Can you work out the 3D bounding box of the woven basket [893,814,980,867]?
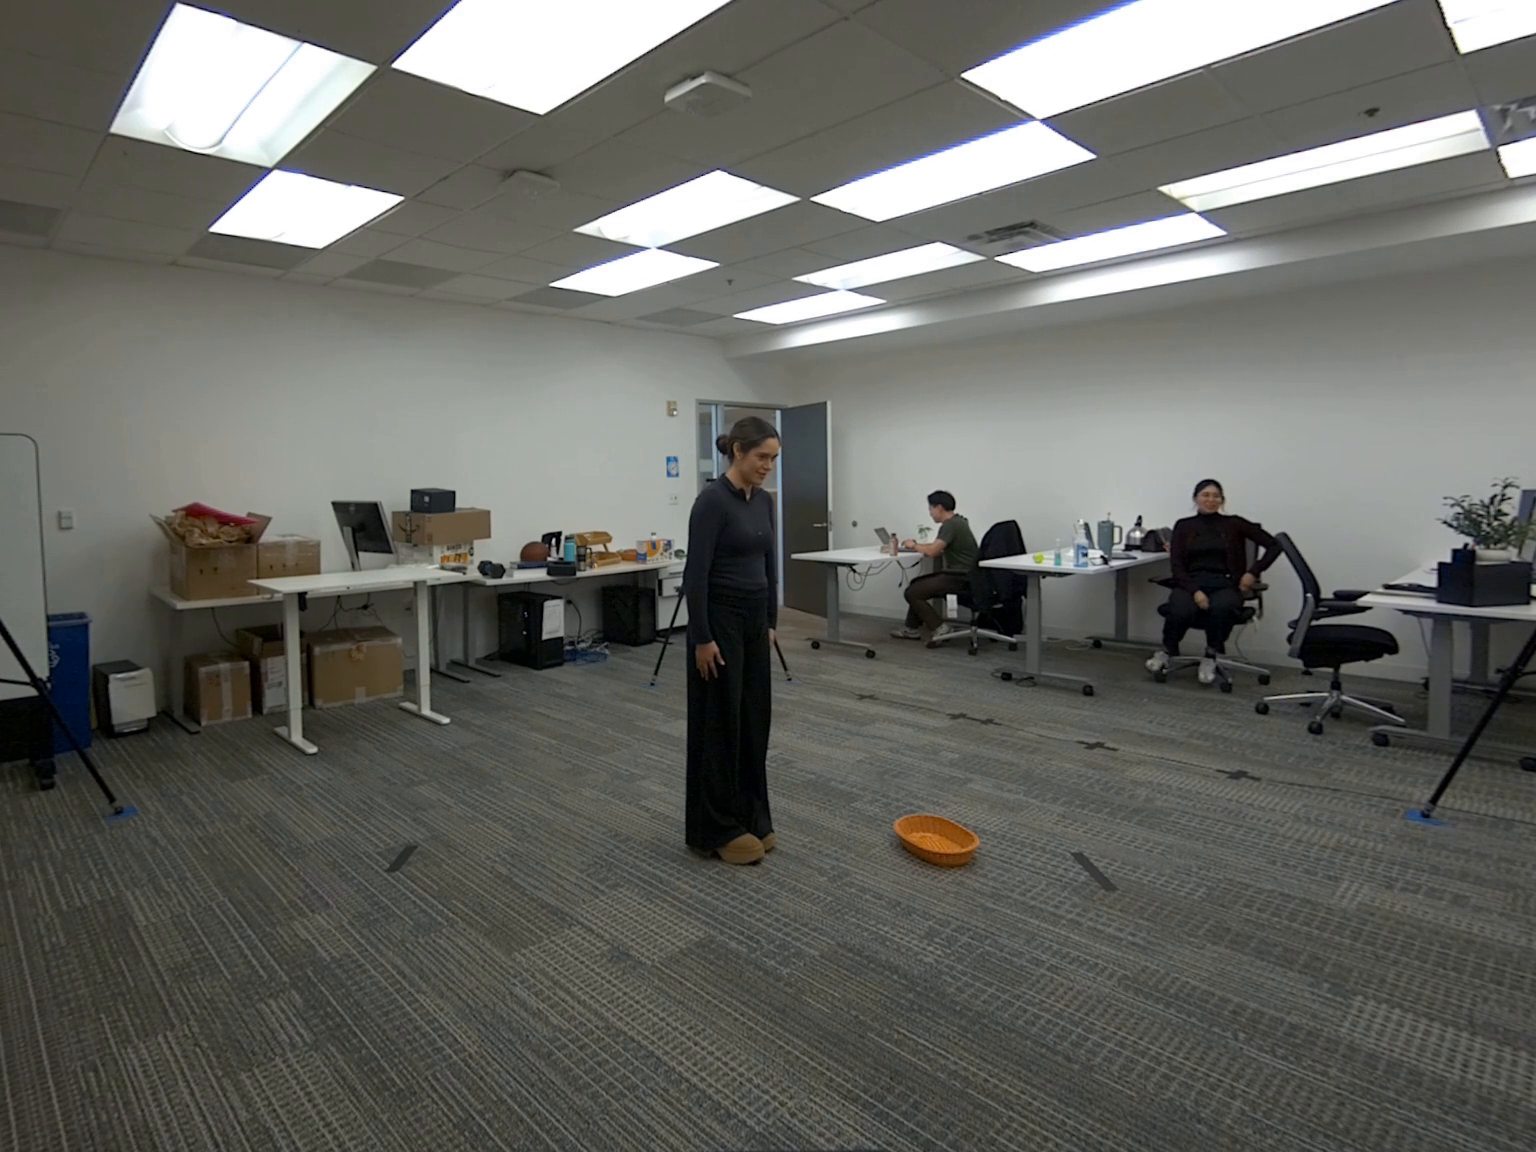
[{"bbox_3d":[0.618,0.980,3.175,0.247,0.073,0.359,-5,7,-25],"label":"woven basket"}]
